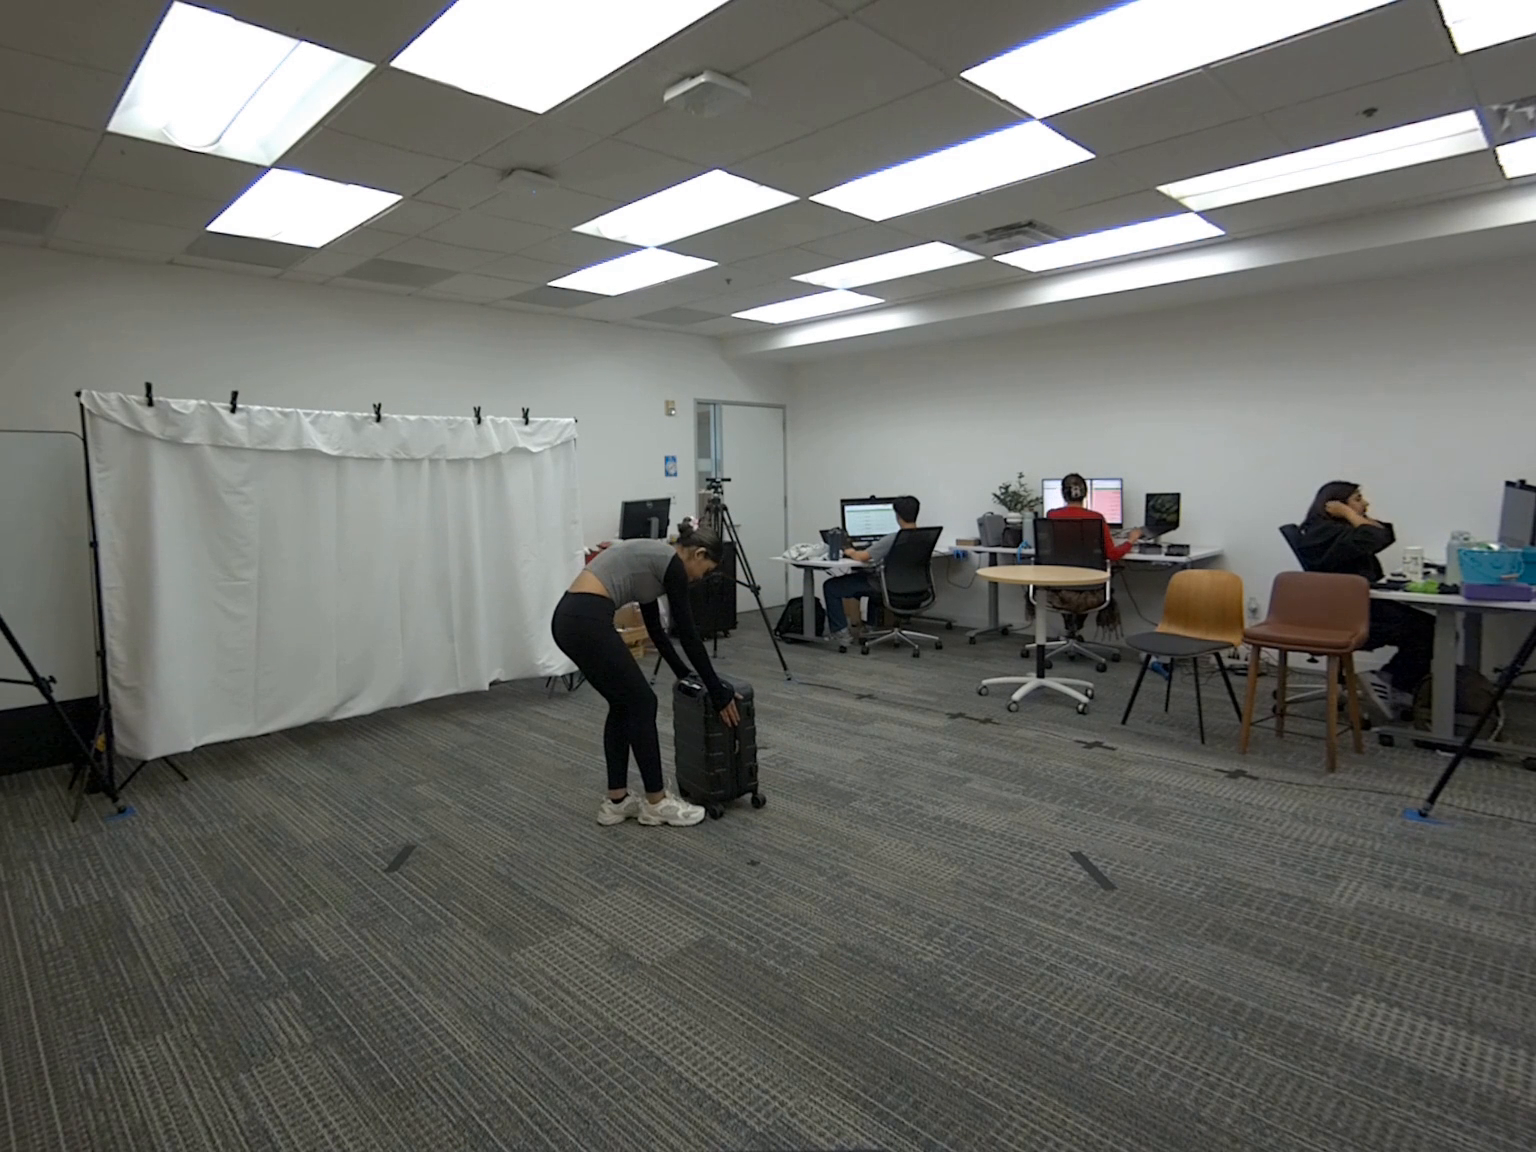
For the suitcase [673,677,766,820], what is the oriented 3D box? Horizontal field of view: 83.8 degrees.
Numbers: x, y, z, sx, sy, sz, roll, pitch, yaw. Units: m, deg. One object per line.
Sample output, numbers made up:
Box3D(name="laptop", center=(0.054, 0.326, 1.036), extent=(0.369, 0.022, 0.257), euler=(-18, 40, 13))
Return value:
Box3D(name="suitcase", center=(-0.228, 0.703, 3.708), extent=(0.242, 0.547, 0.386), euler=(-4, 4, -32))
